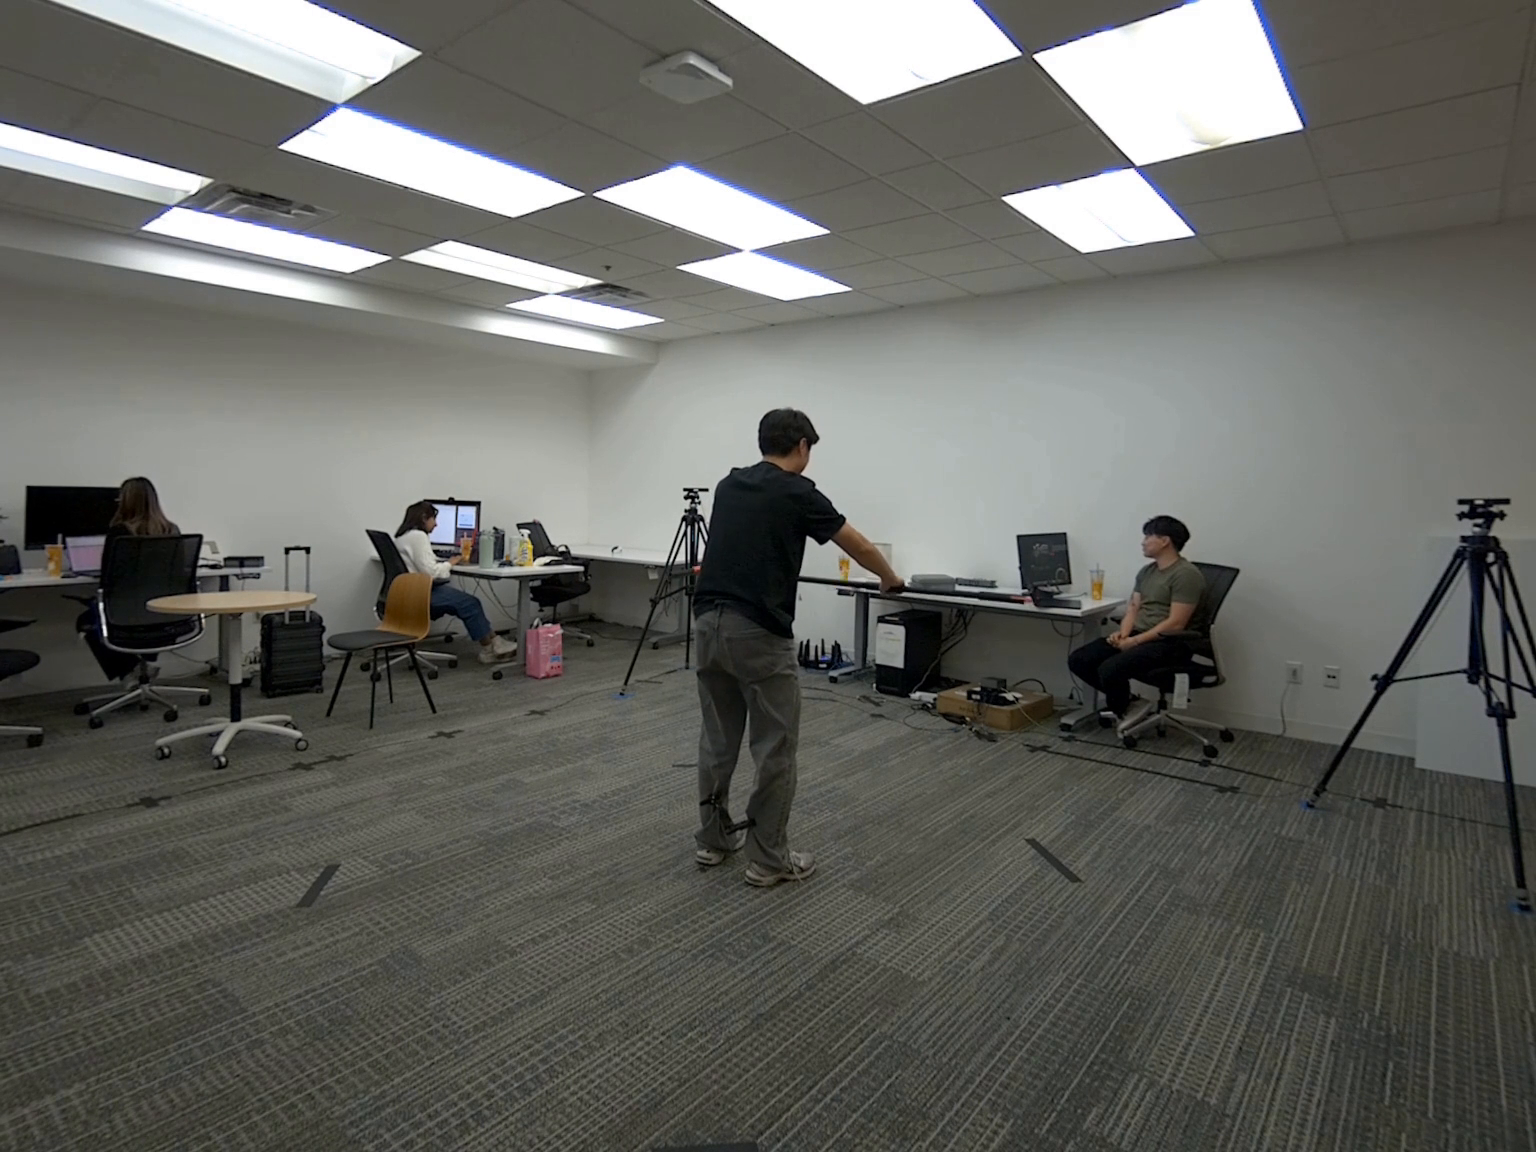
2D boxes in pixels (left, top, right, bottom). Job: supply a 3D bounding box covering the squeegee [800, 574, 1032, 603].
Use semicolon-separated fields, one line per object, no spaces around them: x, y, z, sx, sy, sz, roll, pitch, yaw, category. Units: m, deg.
0.276;0.027;3.437;1.589;0.053;0.425;5;9;38;squeegee
